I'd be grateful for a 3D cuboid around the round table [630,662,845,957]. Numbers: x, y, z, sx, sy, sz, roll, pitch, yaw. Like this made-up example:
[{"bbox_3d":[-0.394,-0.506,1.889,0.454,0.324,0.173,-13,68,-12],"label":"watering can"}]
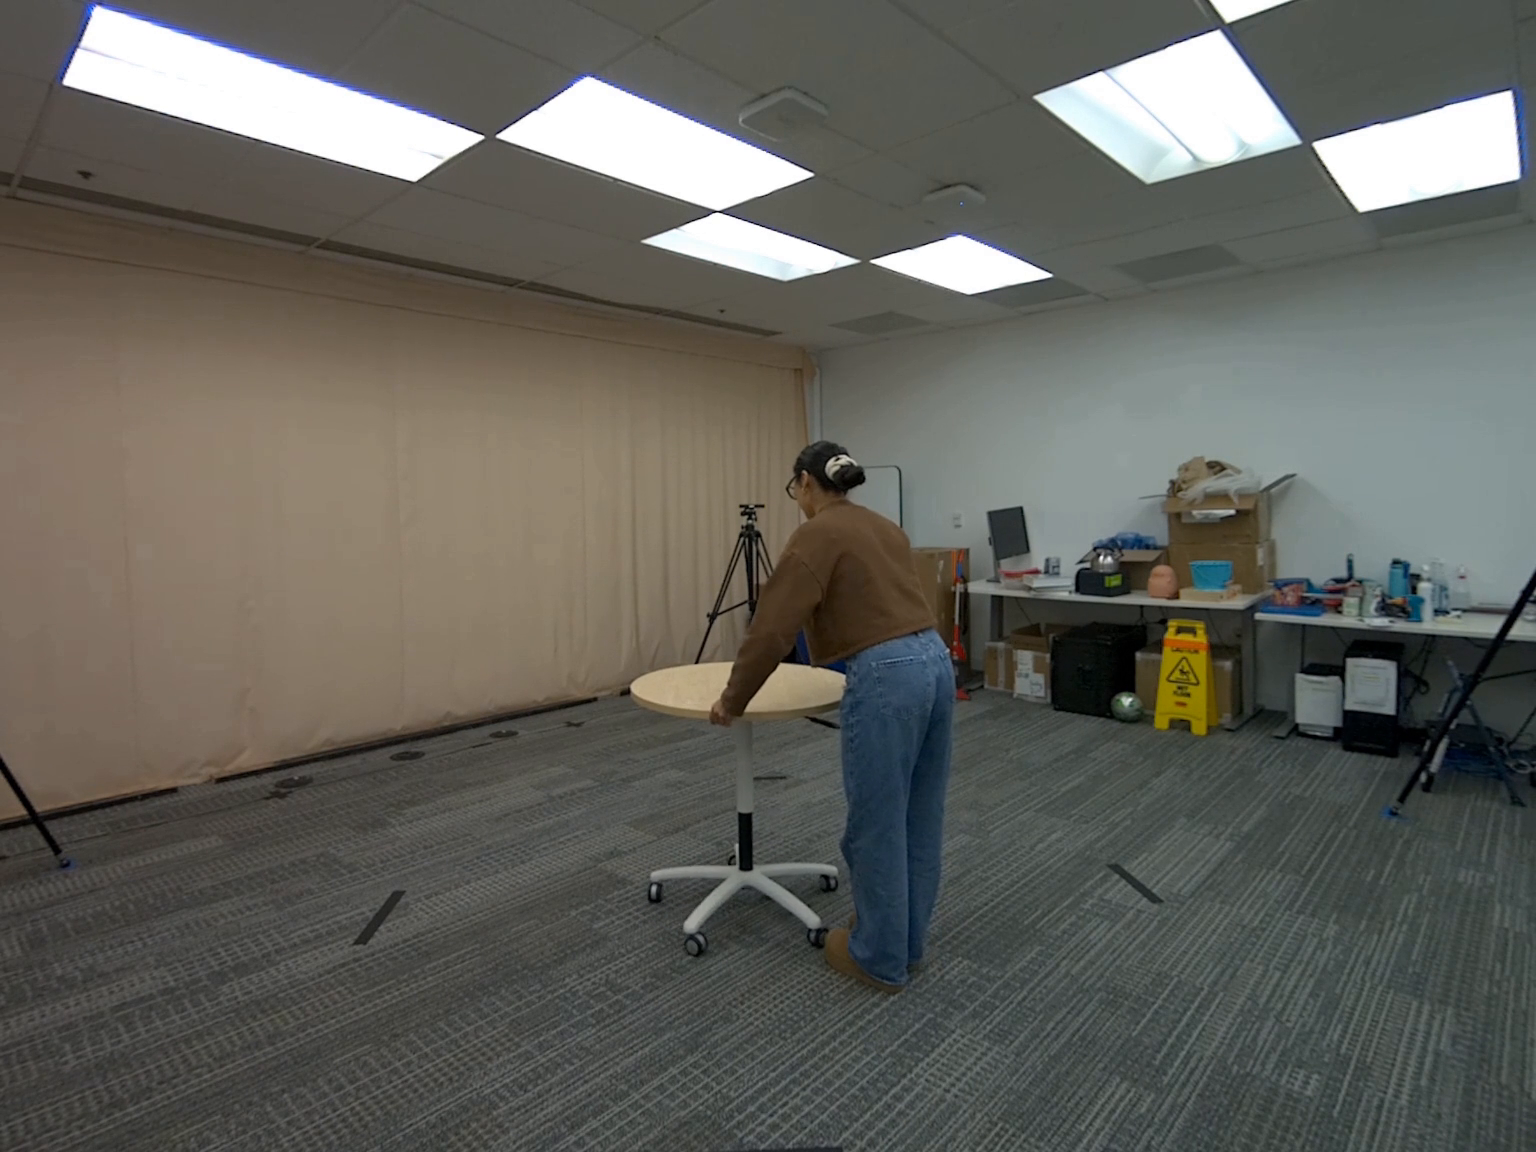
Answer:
[{"bbox_3d":[-0.082,0.760,2.883,0.763,0.792,0.767,-1,4,-2],"label":"round table"}]
